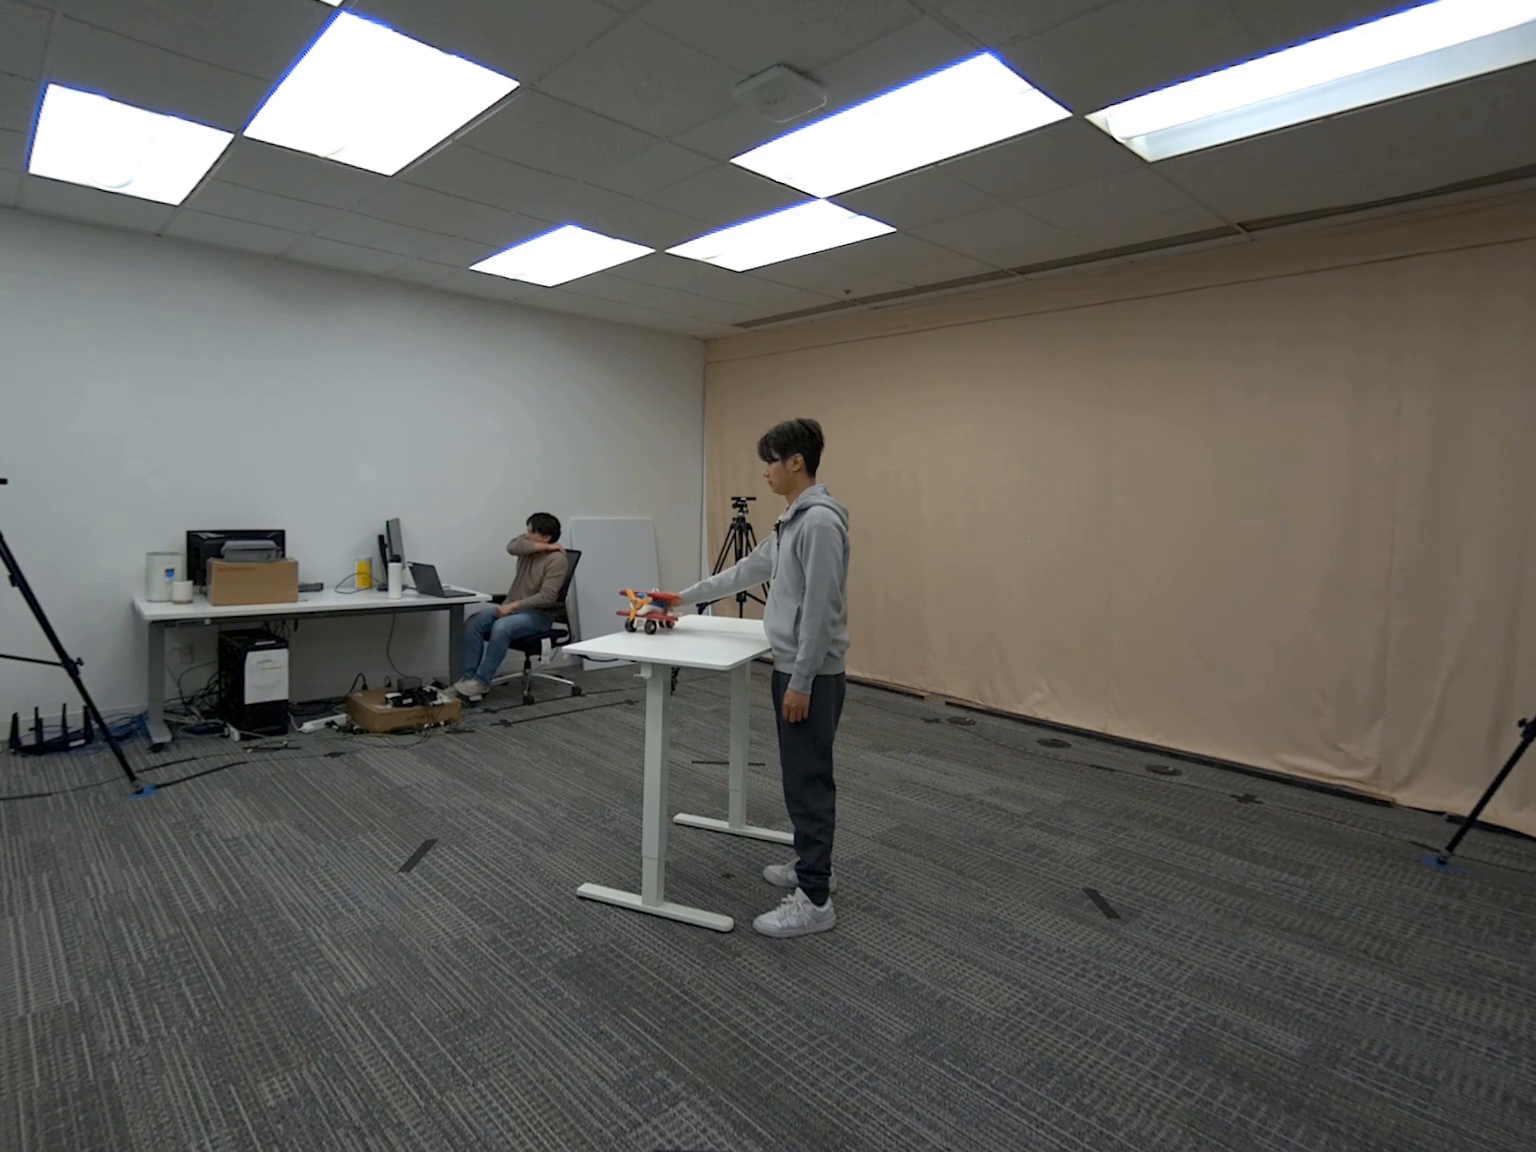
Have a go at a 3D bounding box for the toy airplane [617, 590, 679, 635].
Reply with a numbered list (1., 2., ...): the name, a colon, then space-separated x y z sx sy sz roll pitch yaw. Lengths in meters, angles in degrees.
1. toy airplane: -0.460 0.131 3.214 0.251 0.156 0.260 3 6 -3
